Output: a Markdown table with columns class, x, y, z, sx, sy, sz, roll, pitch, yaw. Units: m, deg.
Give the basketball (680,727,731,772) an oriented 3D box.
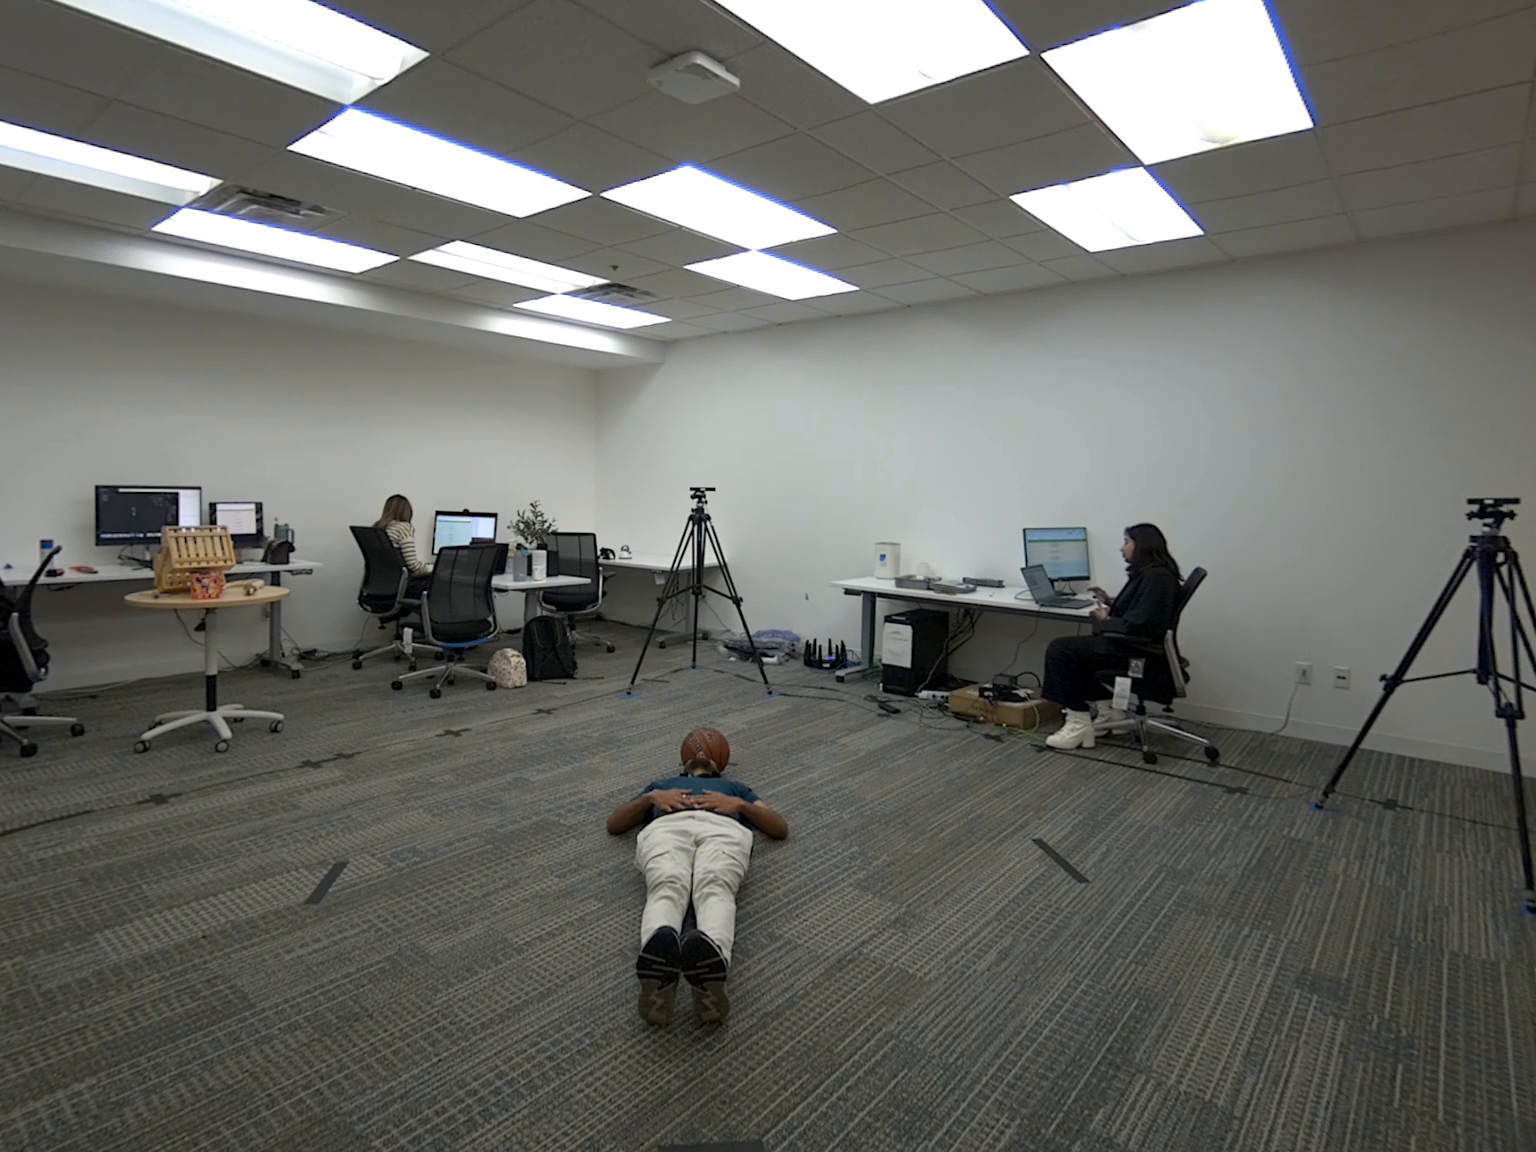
| class | x | y | z | sx | sy | sz | roll | pitch | yaw |
| --- | --- | --- | --- | --- | --- | --- | --- | --- | --- |
| basketball | -0.311 | 0.846 | 4.104 | 0.235 | 0.235 | 0.237 | 1 | 4 | -2 |
